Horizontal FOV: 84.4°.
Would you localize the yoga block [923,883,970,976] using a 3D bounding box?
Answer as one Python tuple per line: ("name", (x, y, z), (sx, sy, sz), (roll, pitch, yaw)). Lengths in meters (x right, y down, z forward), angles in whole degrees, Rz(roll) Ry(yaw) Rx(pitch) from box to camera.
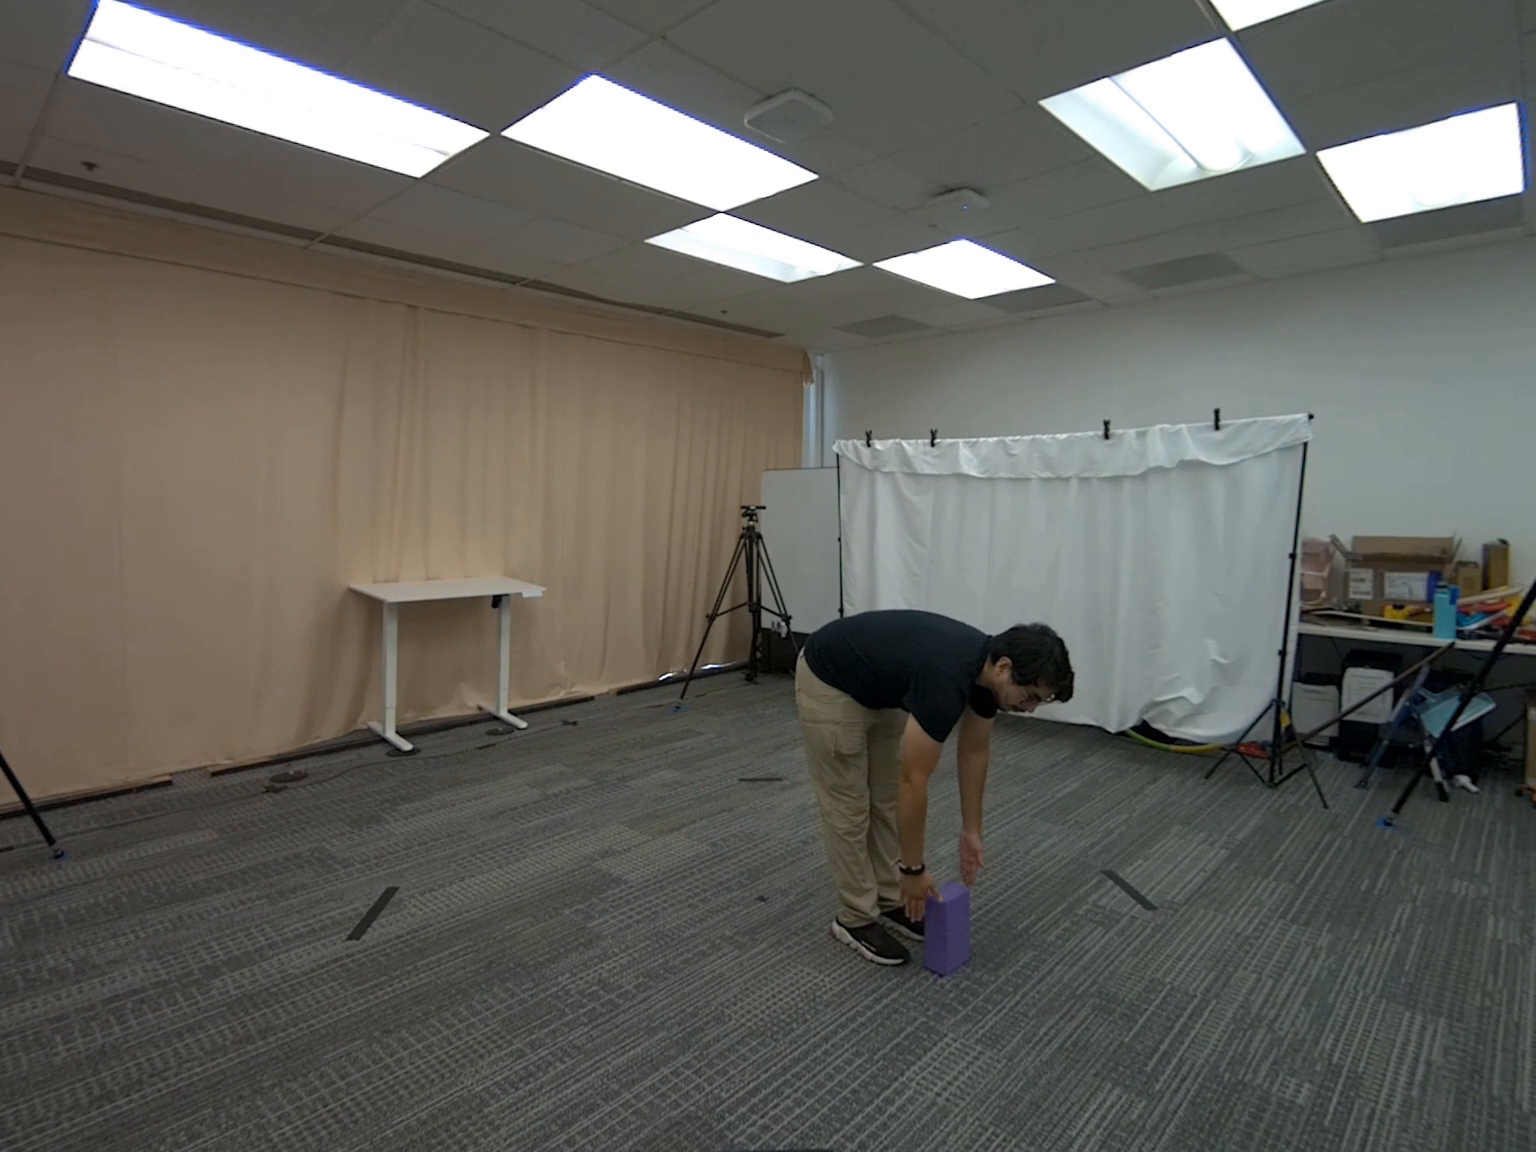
("yoga block", (0.545, 1.054, 2.550), (0.144, 0.229, 0.079), (-2, 1, -44))
